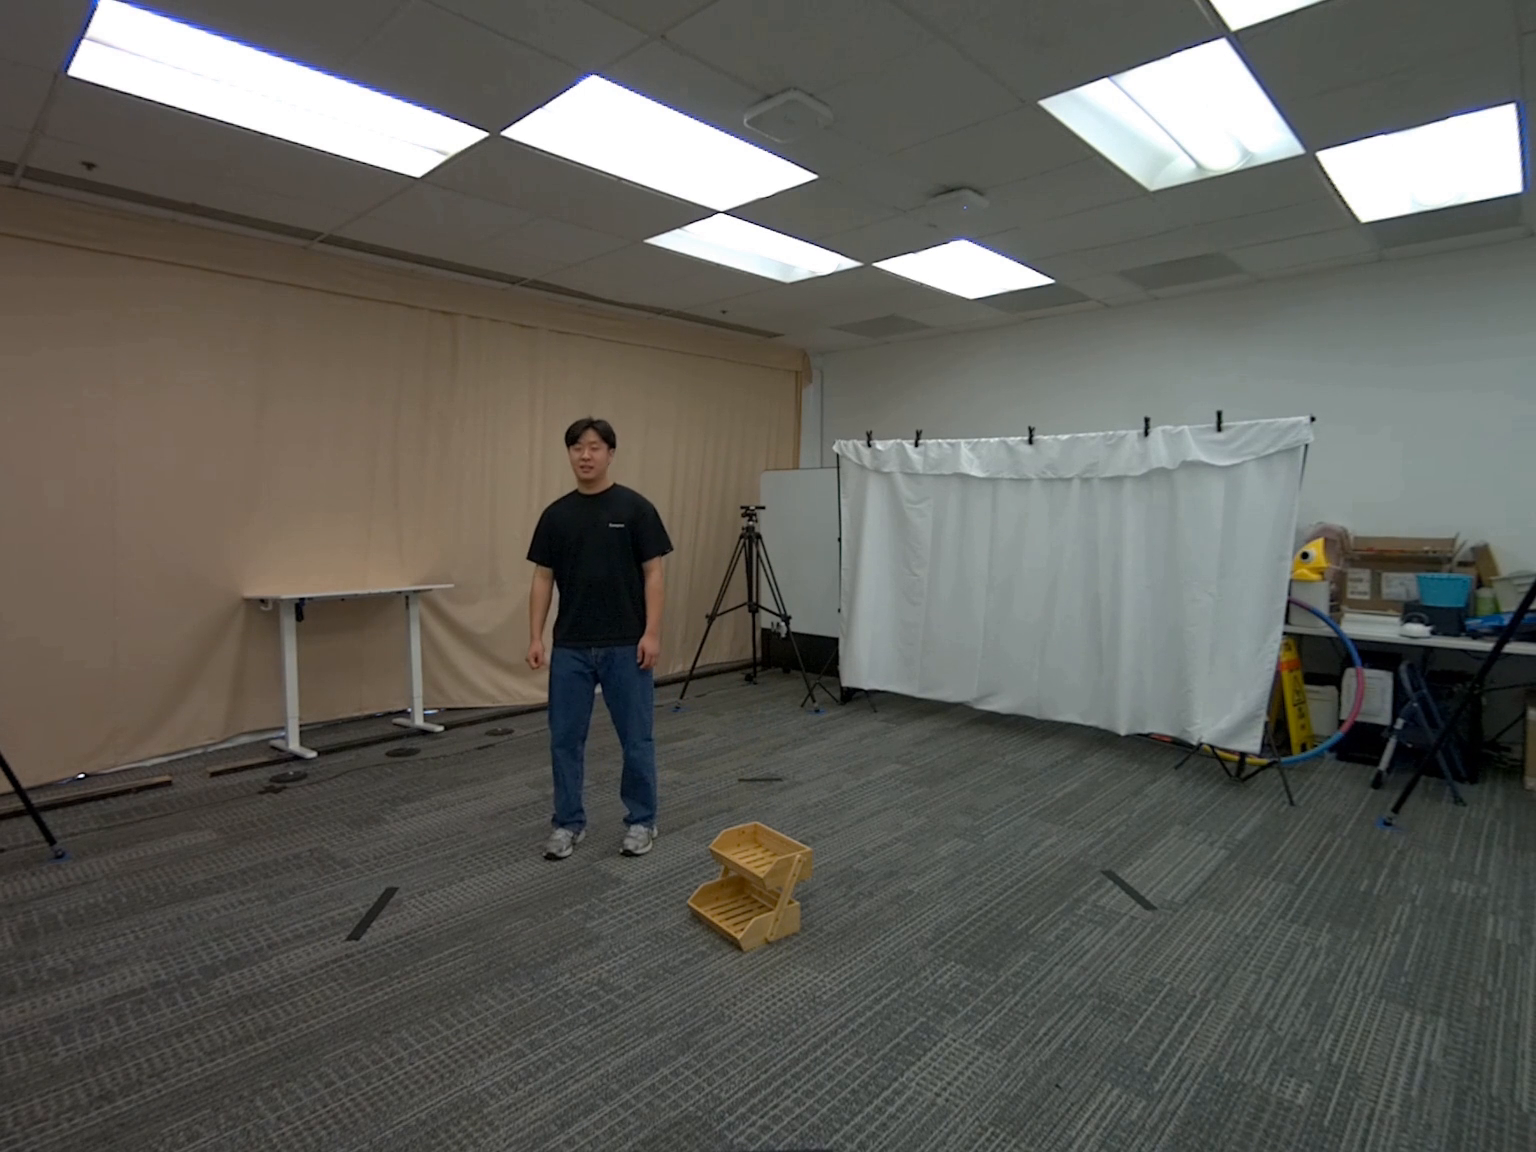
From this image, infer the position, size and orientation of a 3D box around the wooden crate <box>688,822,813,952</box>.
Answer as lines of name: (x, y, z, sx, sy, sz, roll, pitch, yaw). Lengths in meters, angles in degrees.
wooden crate: (-0.062, 1.023, 2.817, 0.293, 0.273, 0.335, -2, 4, -37)
